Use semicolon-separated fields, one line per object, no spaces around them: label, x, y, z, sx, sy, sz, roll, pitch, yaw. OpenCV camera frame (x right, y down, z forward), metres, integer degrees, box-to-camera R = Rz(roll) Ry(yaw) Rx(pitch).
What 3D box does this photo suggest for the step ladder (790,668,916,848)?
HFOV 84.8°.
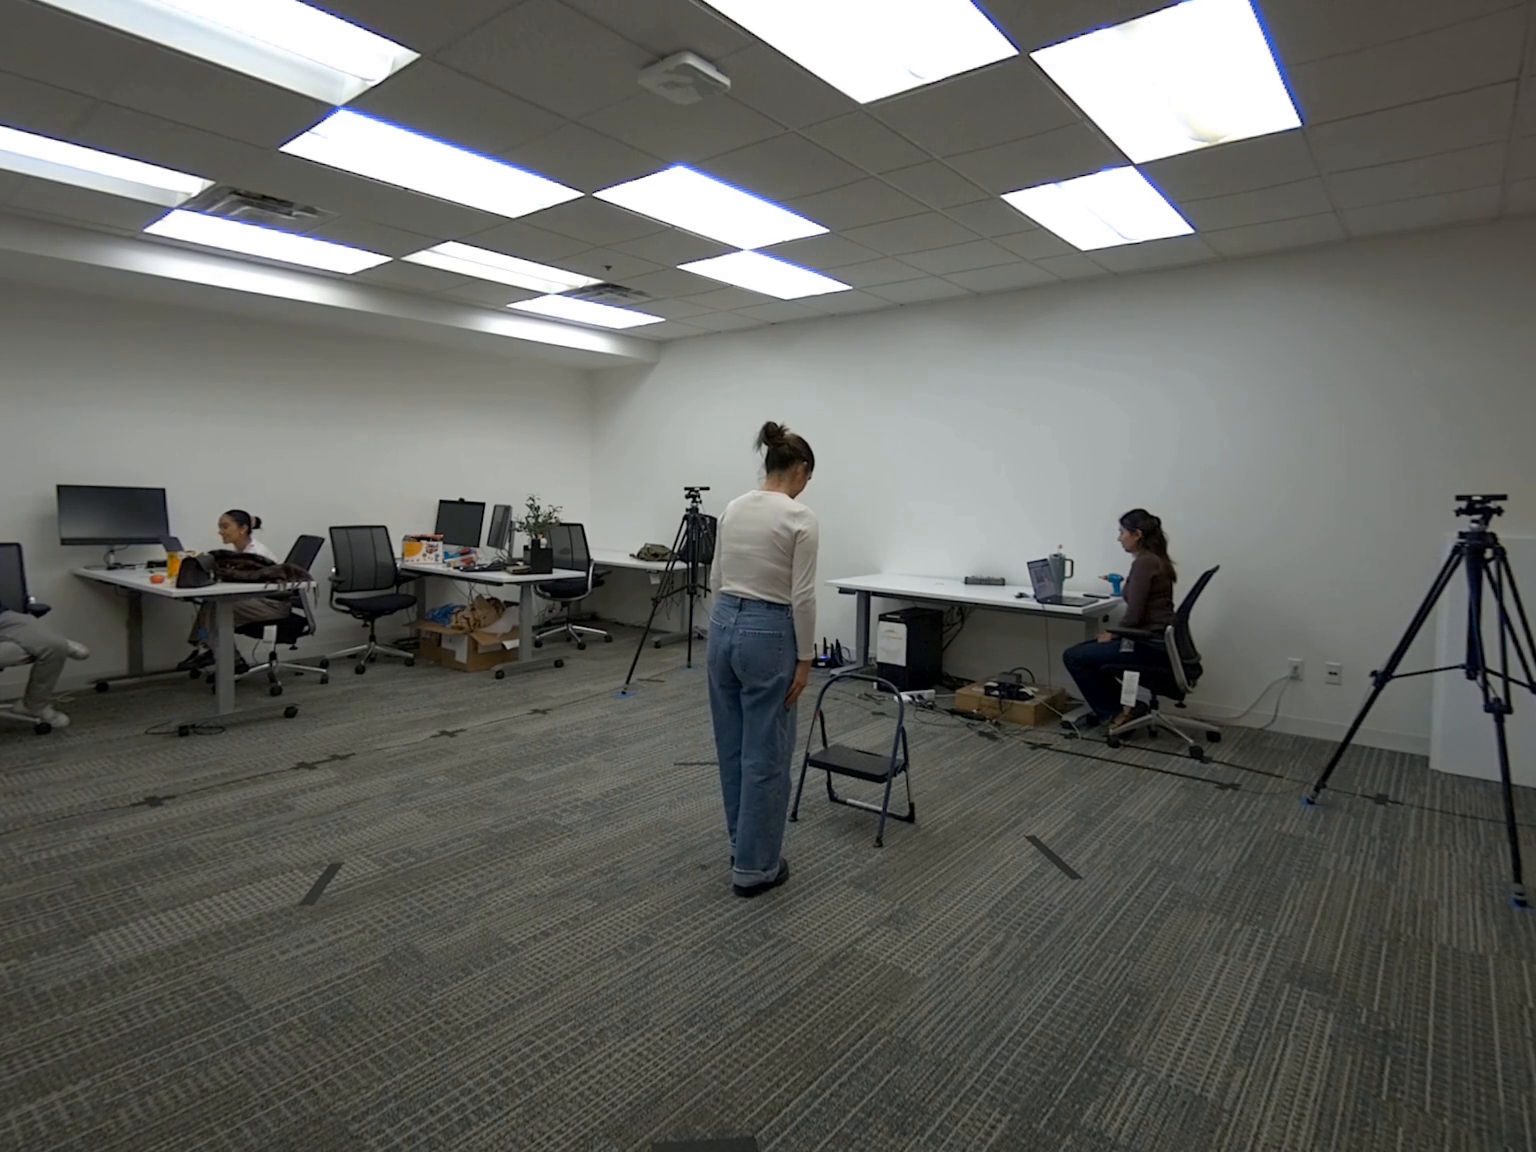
step ladder;0.358;0.726;3.566;0.444;0.604;0.339;4;4;35
